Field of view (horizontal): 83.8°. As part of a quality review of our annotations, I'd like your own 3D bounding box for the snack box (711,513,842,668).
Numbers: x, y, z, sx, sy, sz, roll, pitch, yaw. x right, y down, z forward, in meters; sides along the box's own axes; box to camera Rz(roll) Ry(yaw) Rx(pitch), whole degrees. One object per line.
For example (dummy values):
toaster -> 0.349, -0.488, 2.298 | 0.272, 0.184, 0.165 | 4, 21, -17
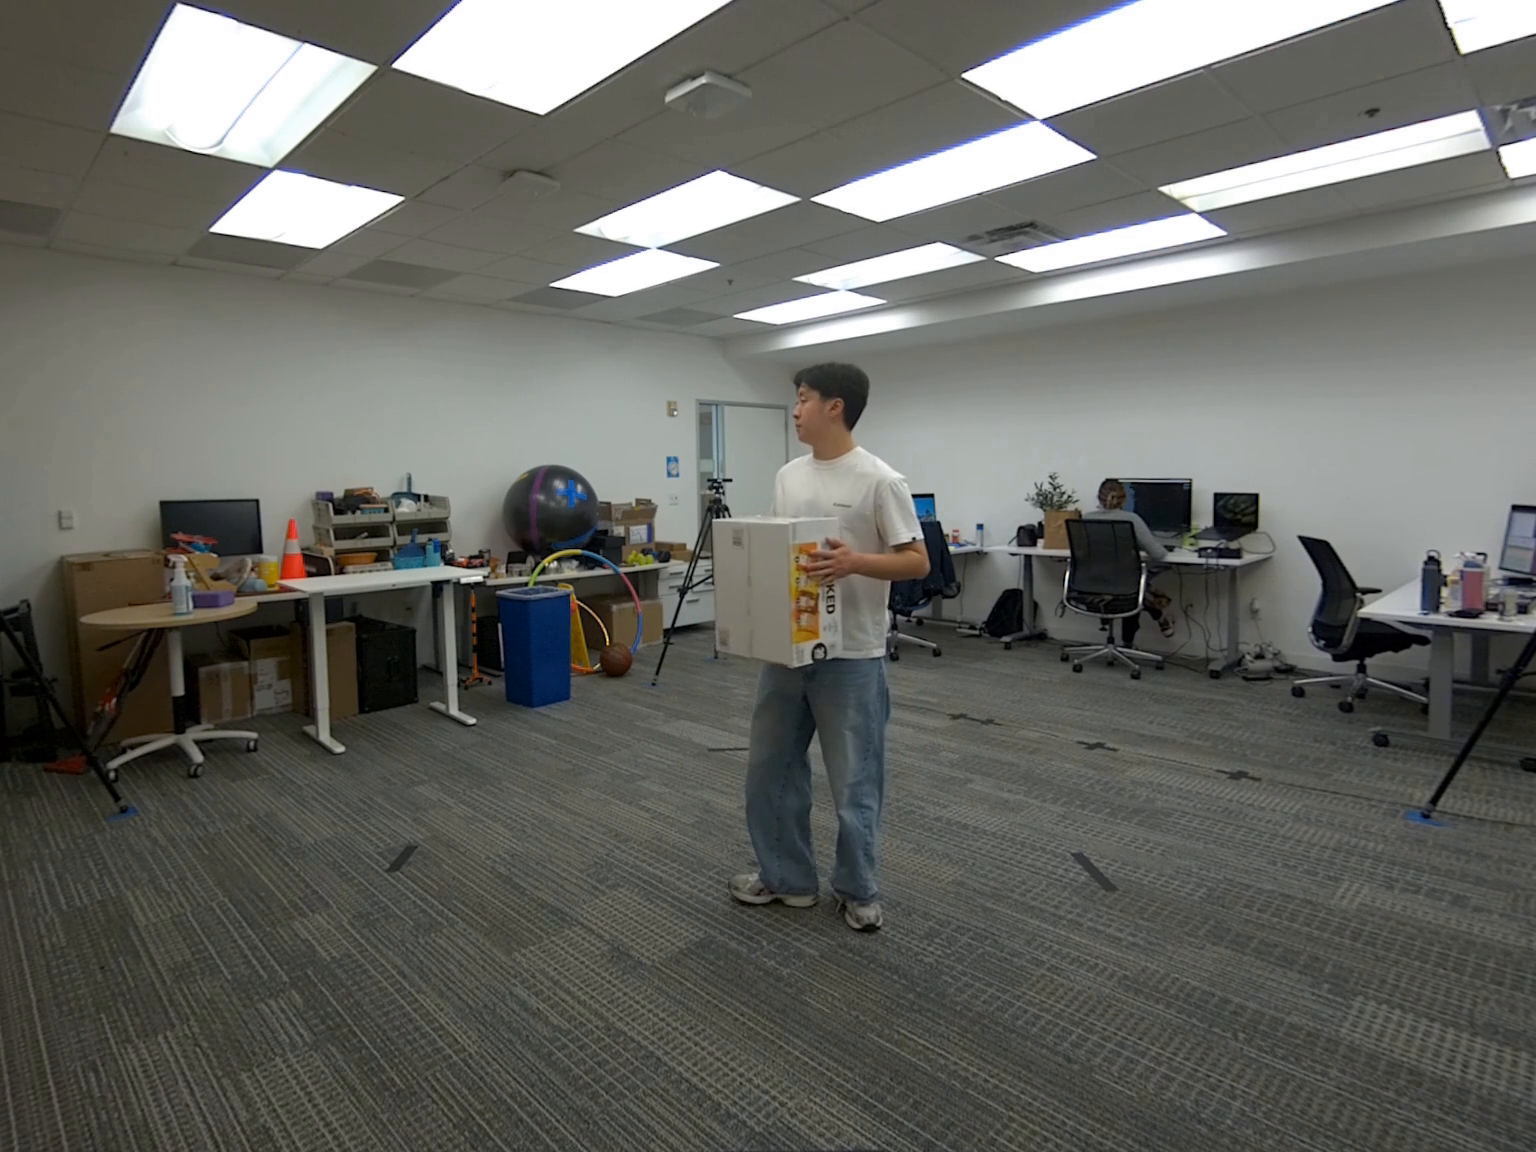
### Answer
snack box -> 0.026, 0.025, 2.537 | 0.200, 0.403, 0.351 | -7, 7, -41
